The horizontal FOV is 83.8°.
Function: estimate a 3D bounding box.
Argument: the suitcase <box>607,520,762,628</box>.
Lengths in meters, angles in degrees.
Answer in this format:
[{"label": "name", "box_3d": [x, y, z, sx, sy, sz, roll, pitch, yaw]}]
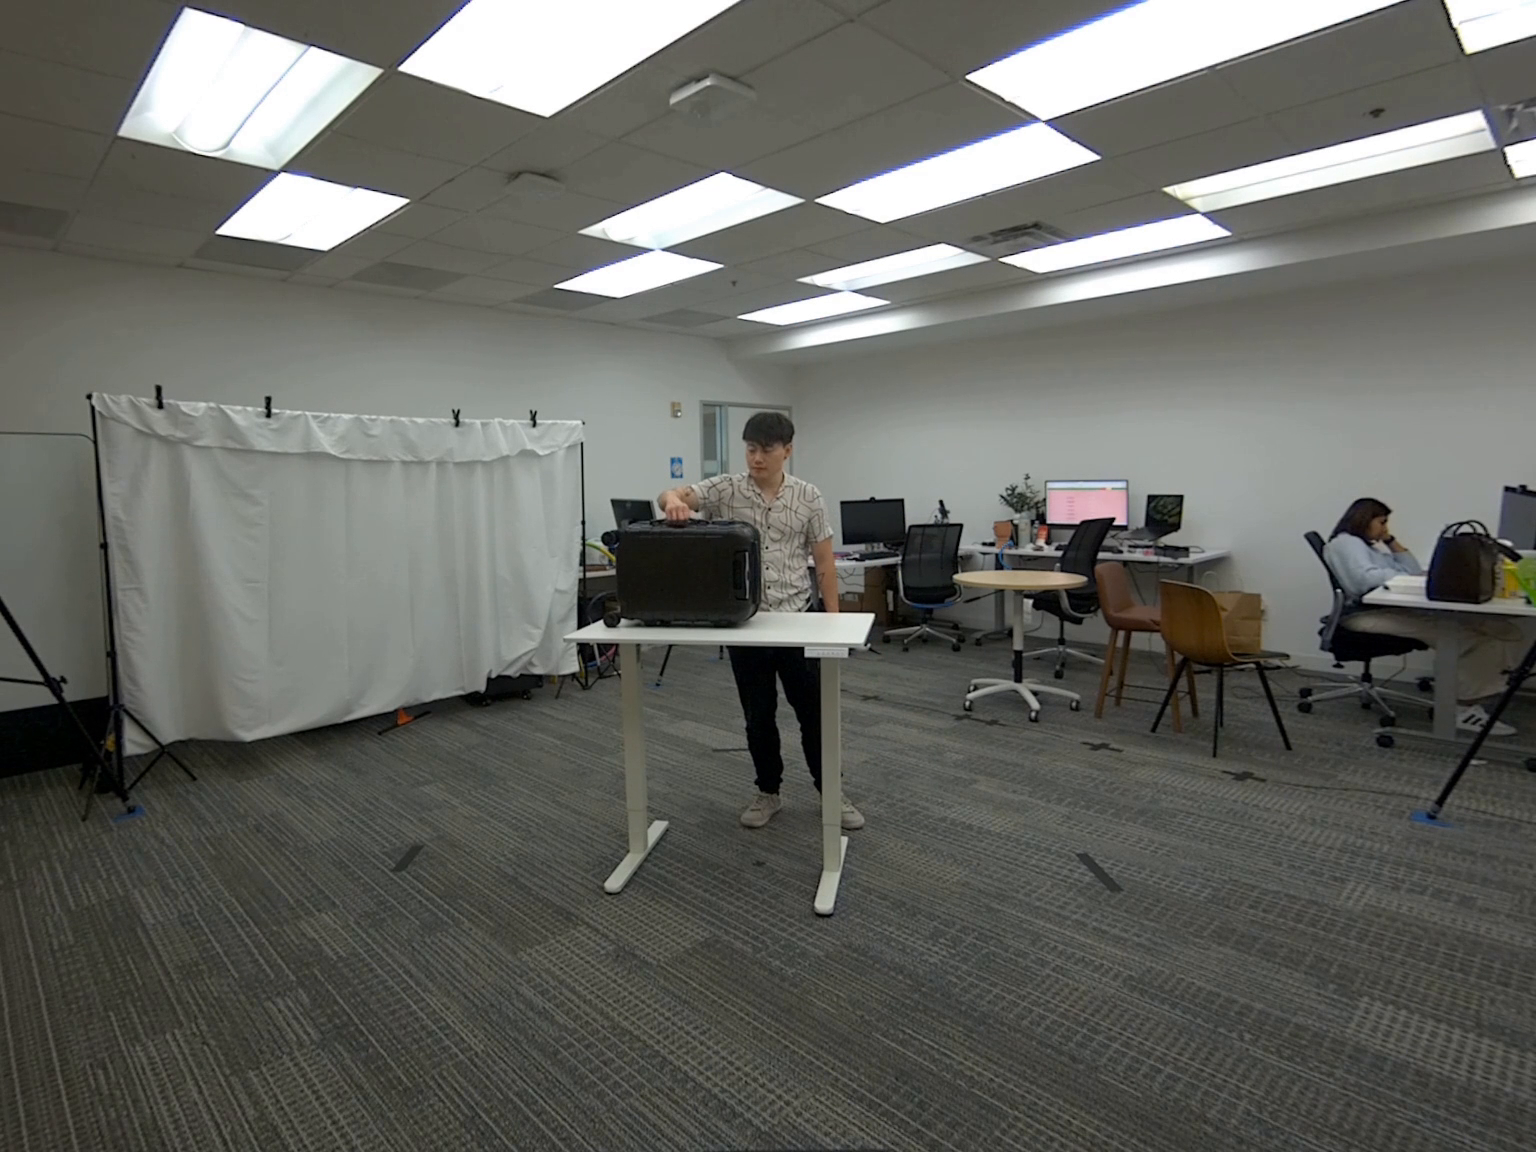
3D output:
[{"label": "suitcase", "box_3d": [-0.299, -0.017, 3.072, 0.557, 0.374, 0.245, 0, 4, 15]}]
